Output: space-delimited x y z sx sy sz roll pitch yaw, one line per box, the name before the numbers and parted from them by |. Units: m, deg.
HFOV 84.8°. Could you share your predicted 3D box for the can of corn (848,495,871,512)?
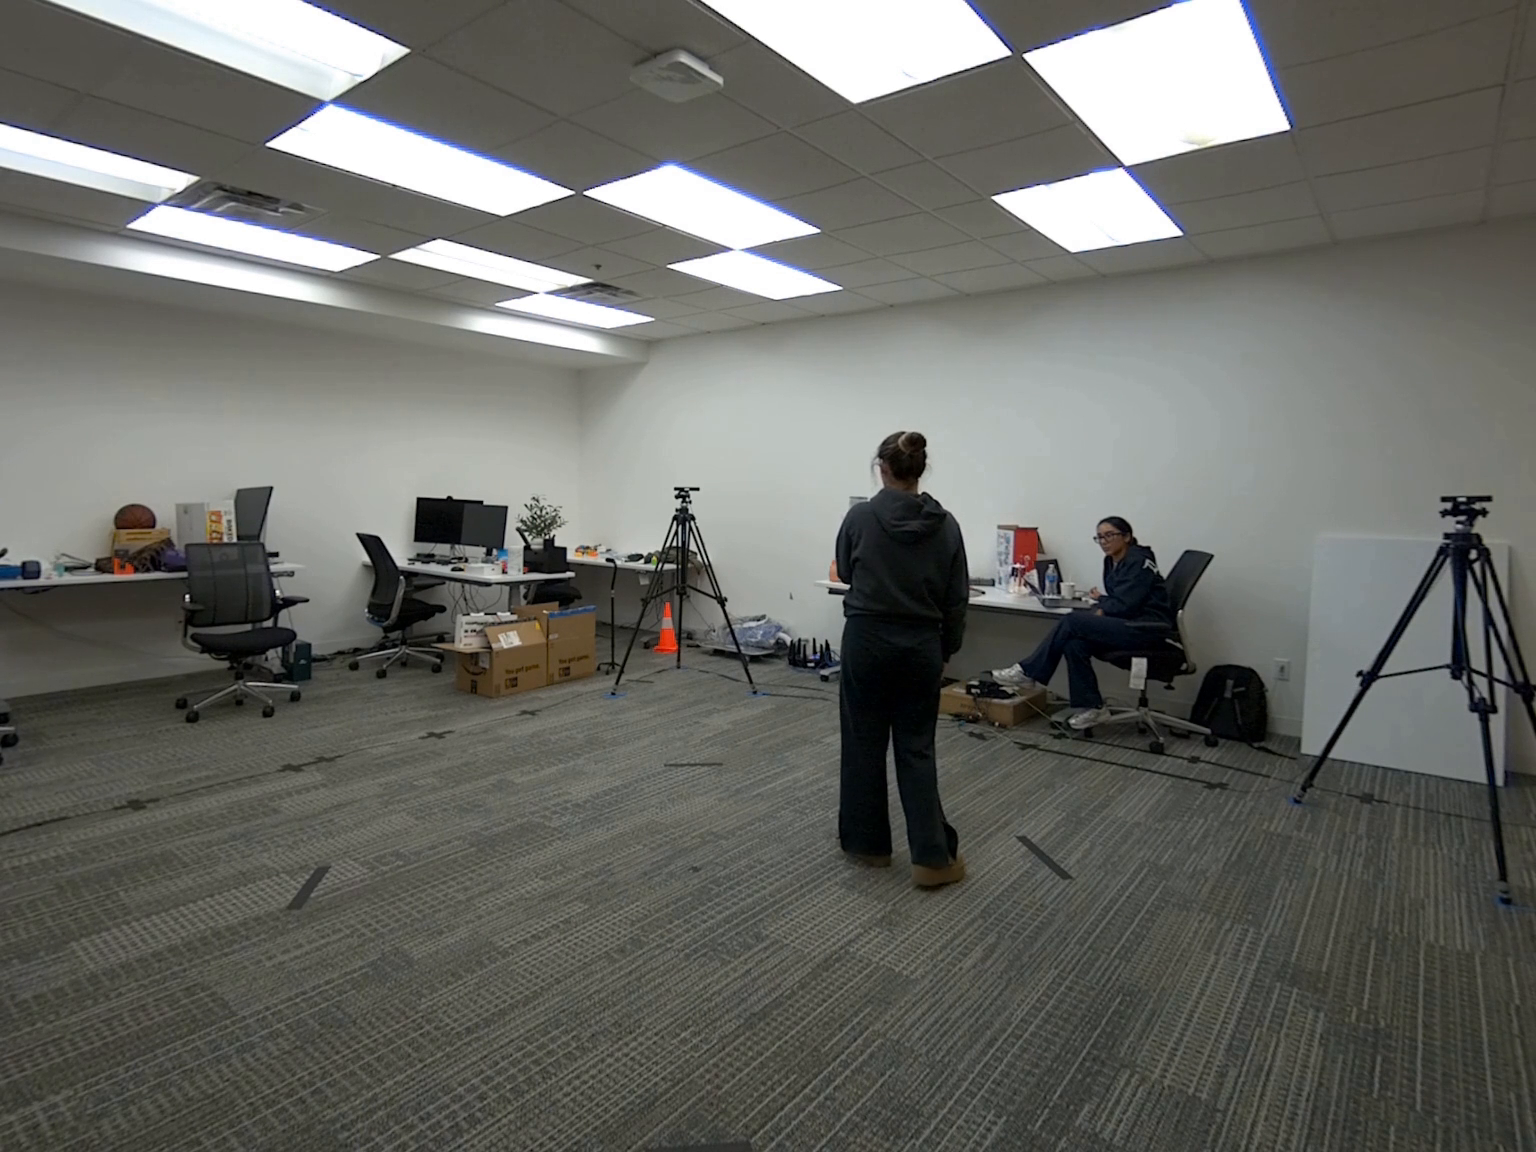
can of corn | 0.379 -0.279 3.508 0.074 0.110 0.075 2 5 -2
